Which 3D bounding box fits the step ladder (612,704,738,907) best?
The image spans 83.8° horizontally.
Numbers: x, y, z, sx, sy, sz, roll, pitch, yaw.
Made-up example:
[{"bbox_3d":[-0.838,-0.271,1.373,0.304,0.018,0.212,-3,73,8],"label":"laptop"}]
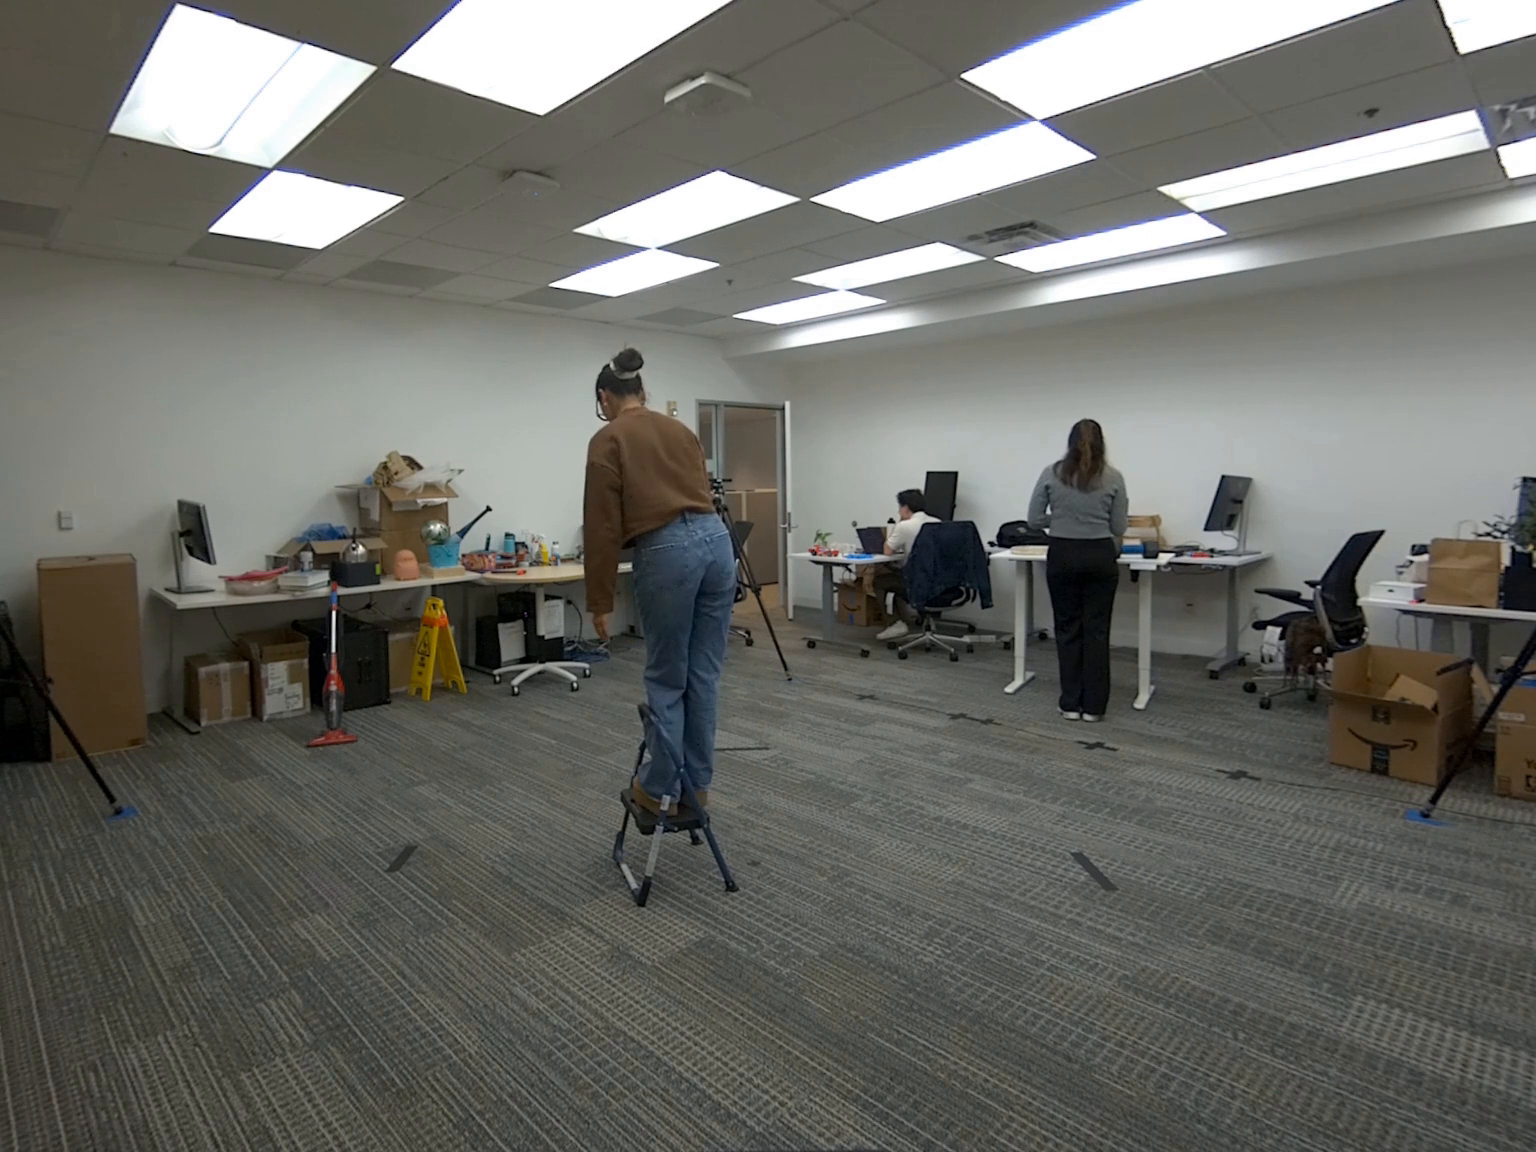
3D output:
[{"bbox_3d":[-0.343,0.760,3.028,0.343,0.604,0.440,-2,5,-22],"label":"step ladder"}]
